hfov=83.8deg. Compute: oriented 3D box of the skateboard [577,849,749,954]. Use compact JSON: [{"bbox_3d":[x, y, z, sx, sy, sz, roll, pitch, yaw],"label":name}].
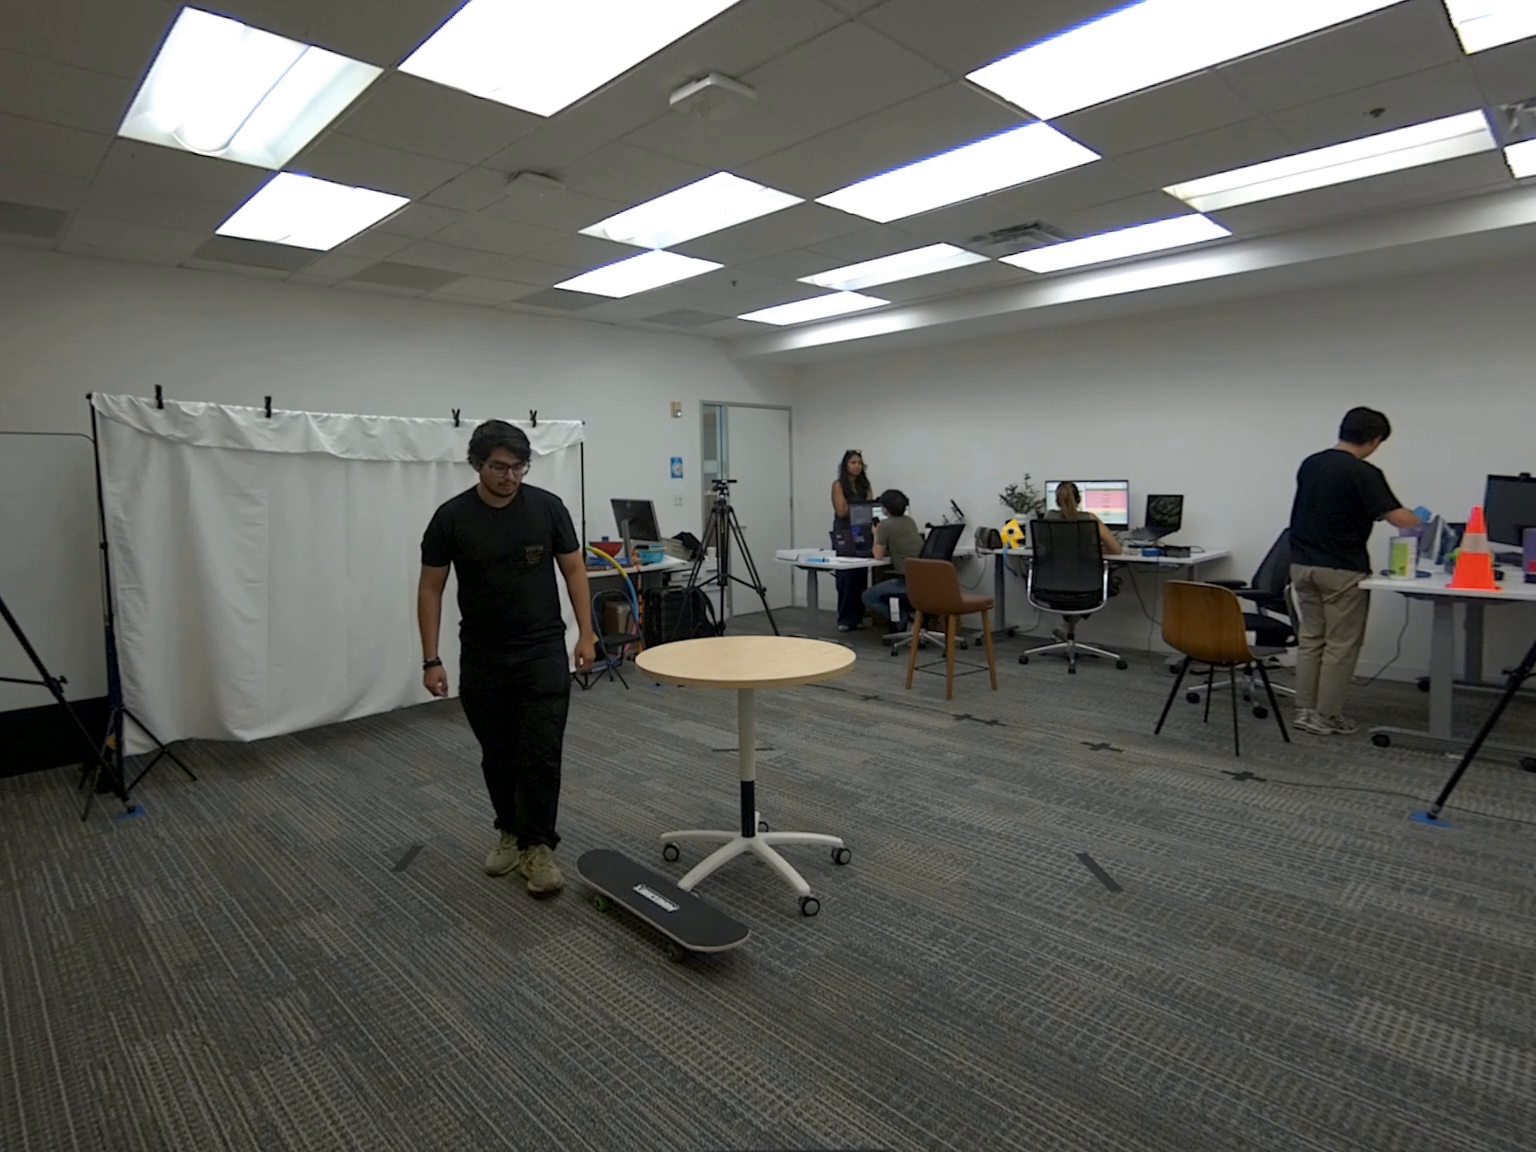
[{"bbox_3d":[-0.353,1.048,2.691,0.188,0.110,0.810,-7,9,-42],"label":"skateboard"}]
